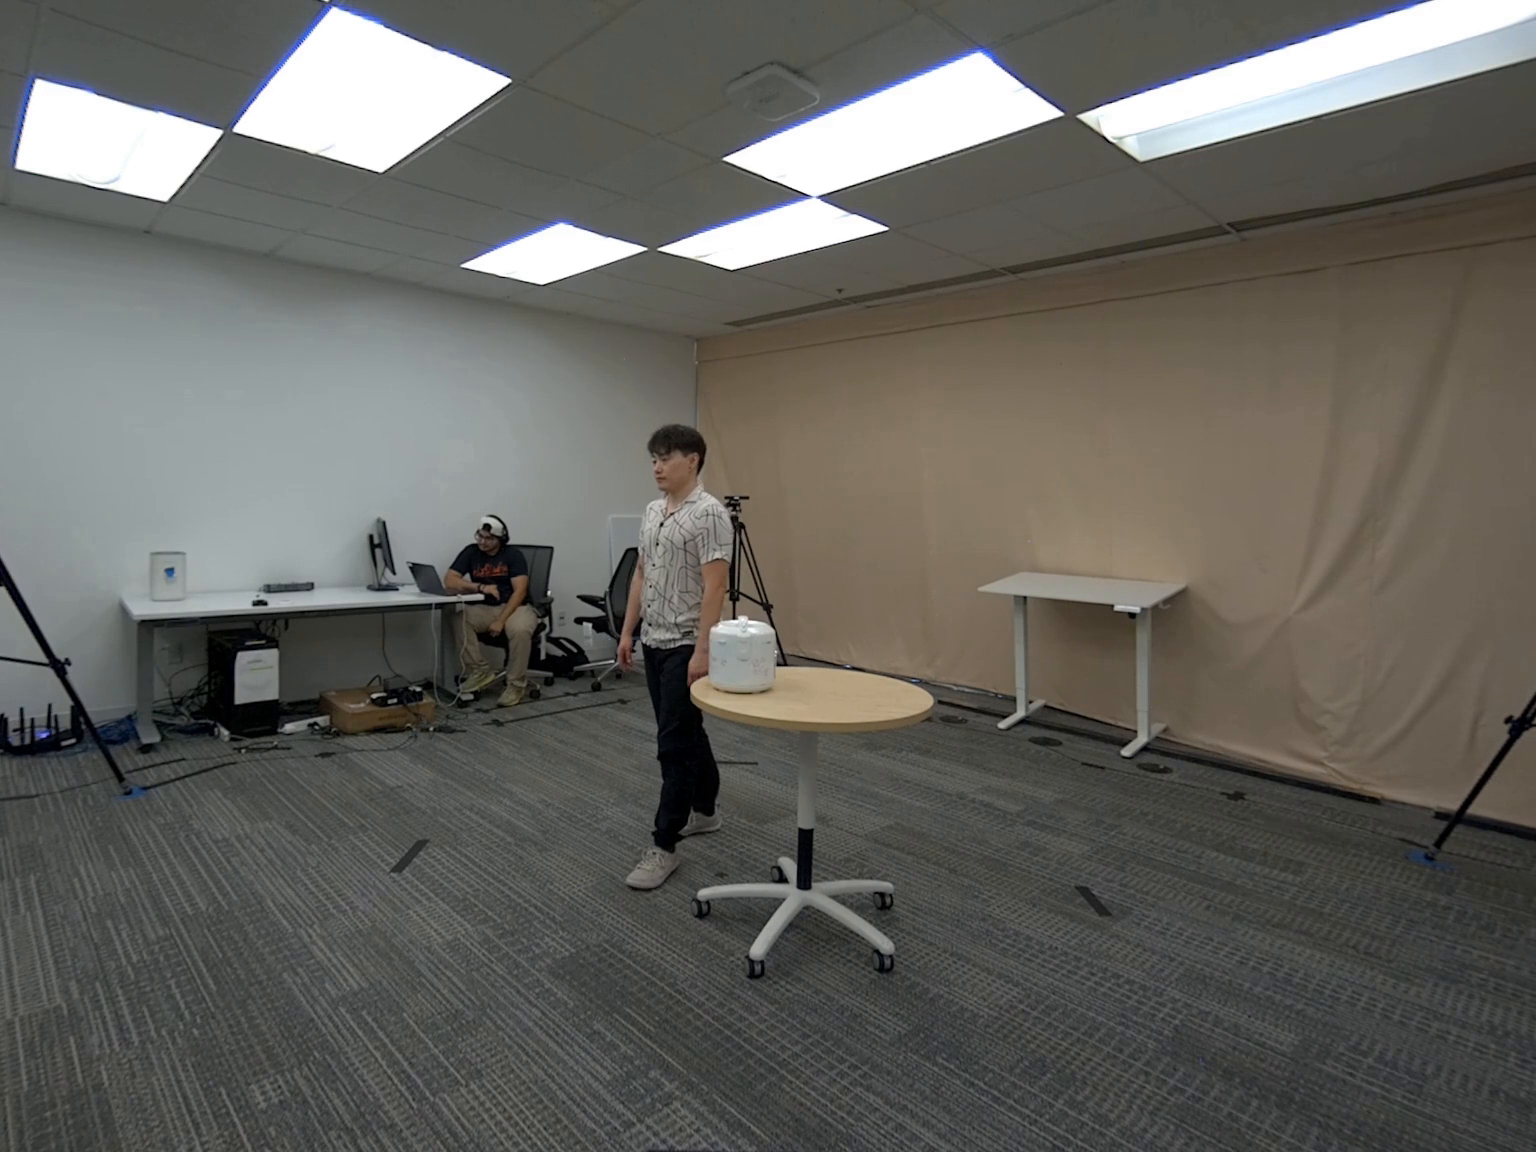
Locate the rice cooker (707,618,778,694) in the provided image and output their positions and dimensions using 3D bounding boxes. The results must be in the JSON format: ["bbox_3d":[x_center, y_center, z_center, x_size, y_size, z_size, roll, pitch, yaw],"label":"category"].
[{"bbox_3d":[-0.084,0.243,2.687,0.217,0.232,0.221,2,4,-2],"label":"rice cooker"}]
